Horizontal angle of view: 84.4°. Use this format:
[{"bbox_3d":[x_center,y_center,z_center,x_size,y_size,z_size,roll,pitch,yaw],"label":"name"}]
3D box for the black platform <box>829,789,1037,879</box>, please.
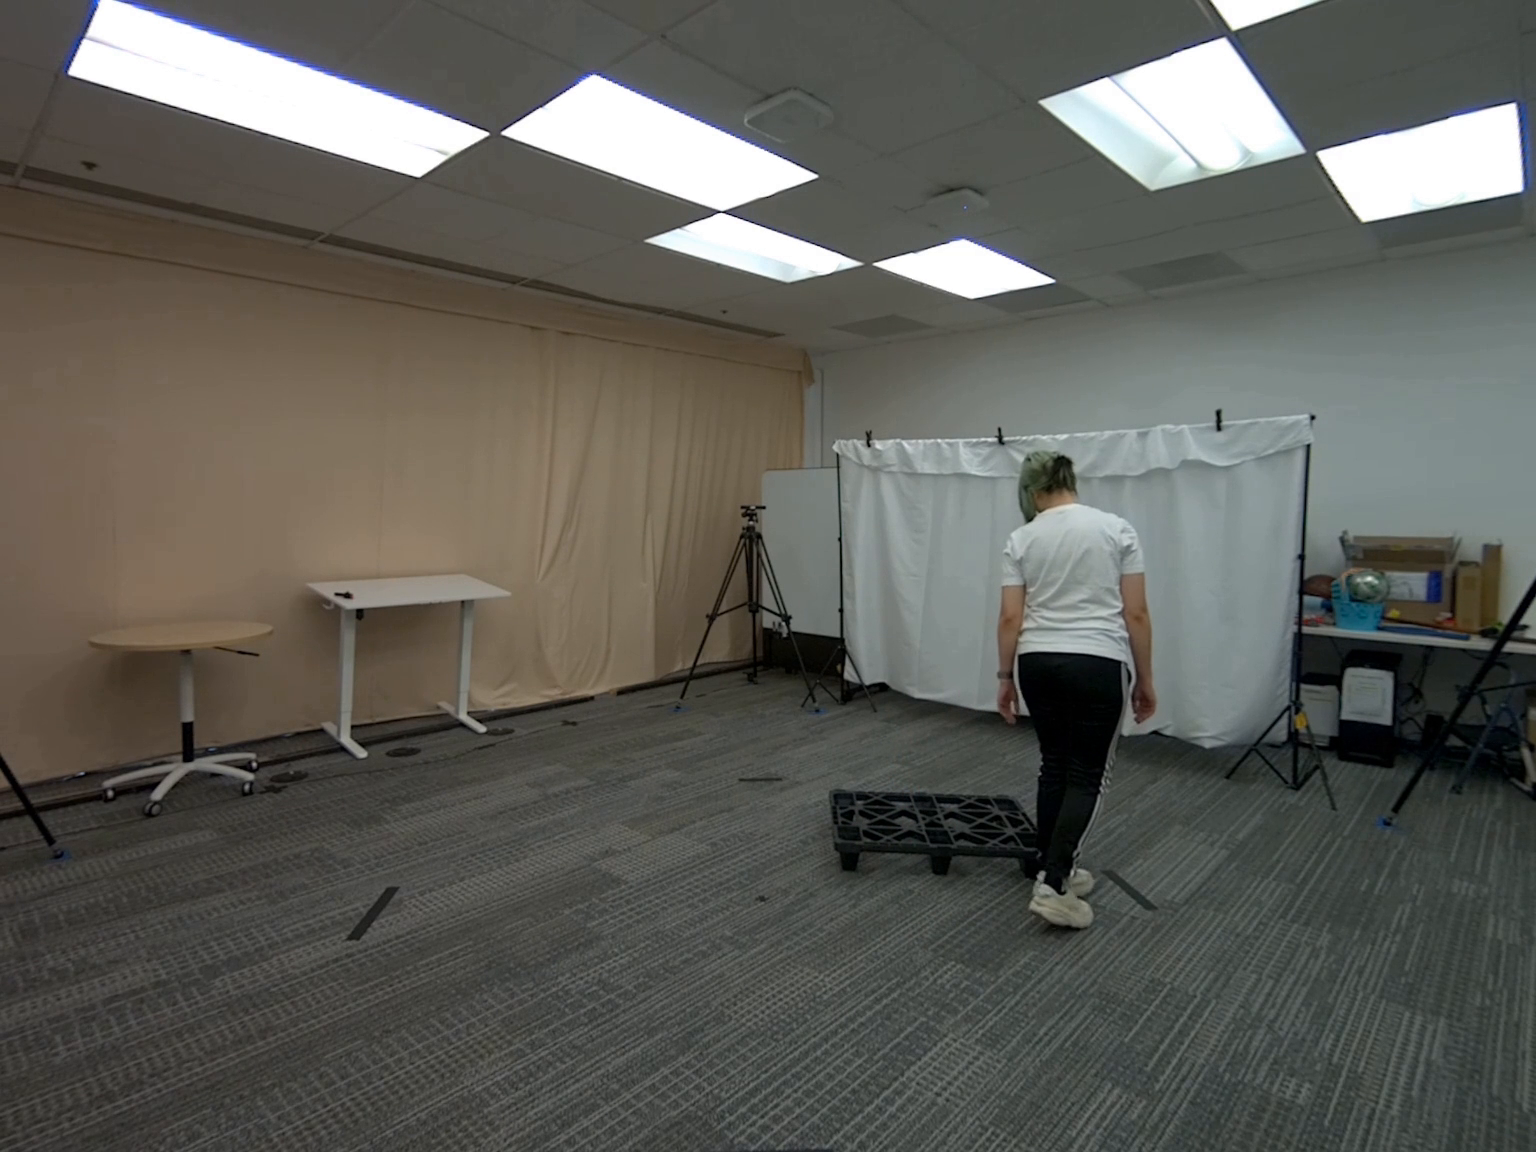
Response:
[{"bbox_3d":[0.658,1.039,3.402,0.810,0.143,0.603,1,4,4],"label":"black platform"}]
